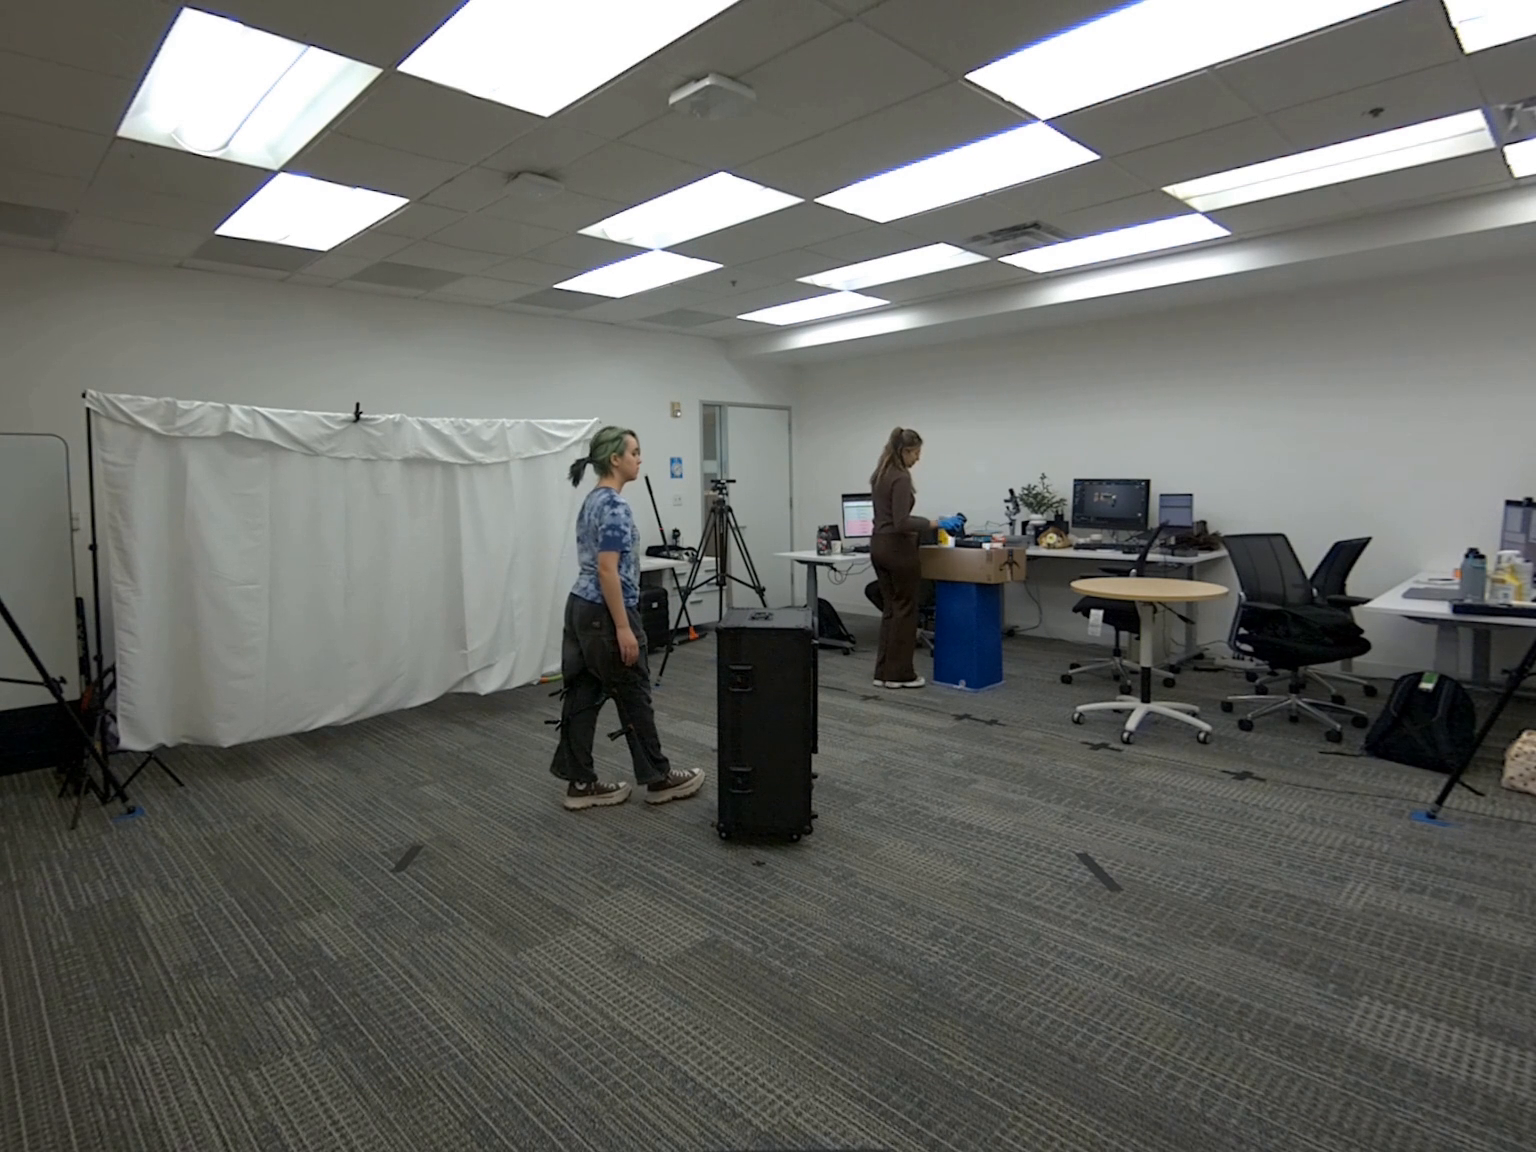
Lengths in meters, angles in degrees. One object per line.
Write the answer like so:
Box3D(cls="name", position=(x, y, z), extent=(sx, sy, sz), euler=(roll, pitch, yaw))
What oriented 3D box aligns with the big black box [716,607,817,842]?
Box3D(cls="big black box", position=(0.004, 0.587, 3.422), extent=(0.398, 0.858, 0.520), euler=(1, 4, 4))
